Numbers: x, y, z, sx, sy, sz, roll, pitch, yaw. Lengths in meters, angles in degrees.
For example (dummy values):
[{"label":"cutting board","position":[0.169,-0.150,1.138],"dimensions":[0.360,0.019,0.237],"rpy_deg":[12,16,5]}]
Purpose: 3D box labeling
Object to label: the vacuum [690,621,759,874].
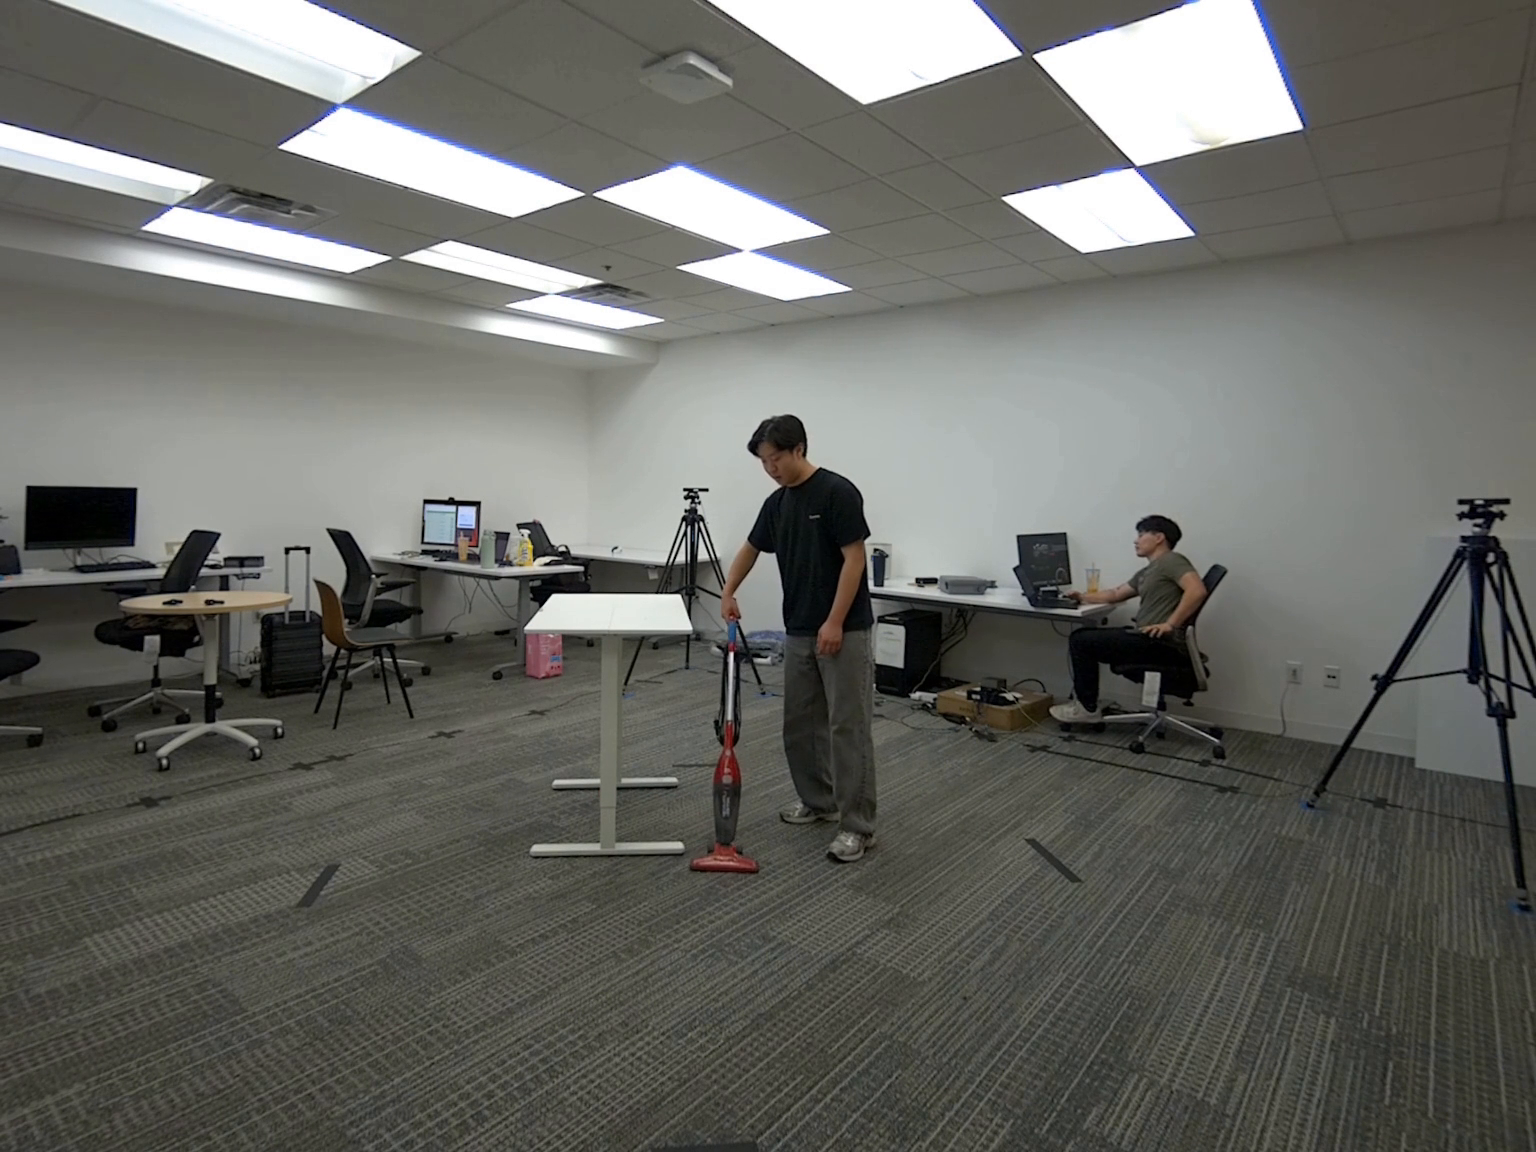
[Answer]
[{"label":"vacuum","position":[-0.157,0.613,3.429],"dimensions":[0.254,1.075,0.140],"rpy_deg":[0,-33,3]}]
